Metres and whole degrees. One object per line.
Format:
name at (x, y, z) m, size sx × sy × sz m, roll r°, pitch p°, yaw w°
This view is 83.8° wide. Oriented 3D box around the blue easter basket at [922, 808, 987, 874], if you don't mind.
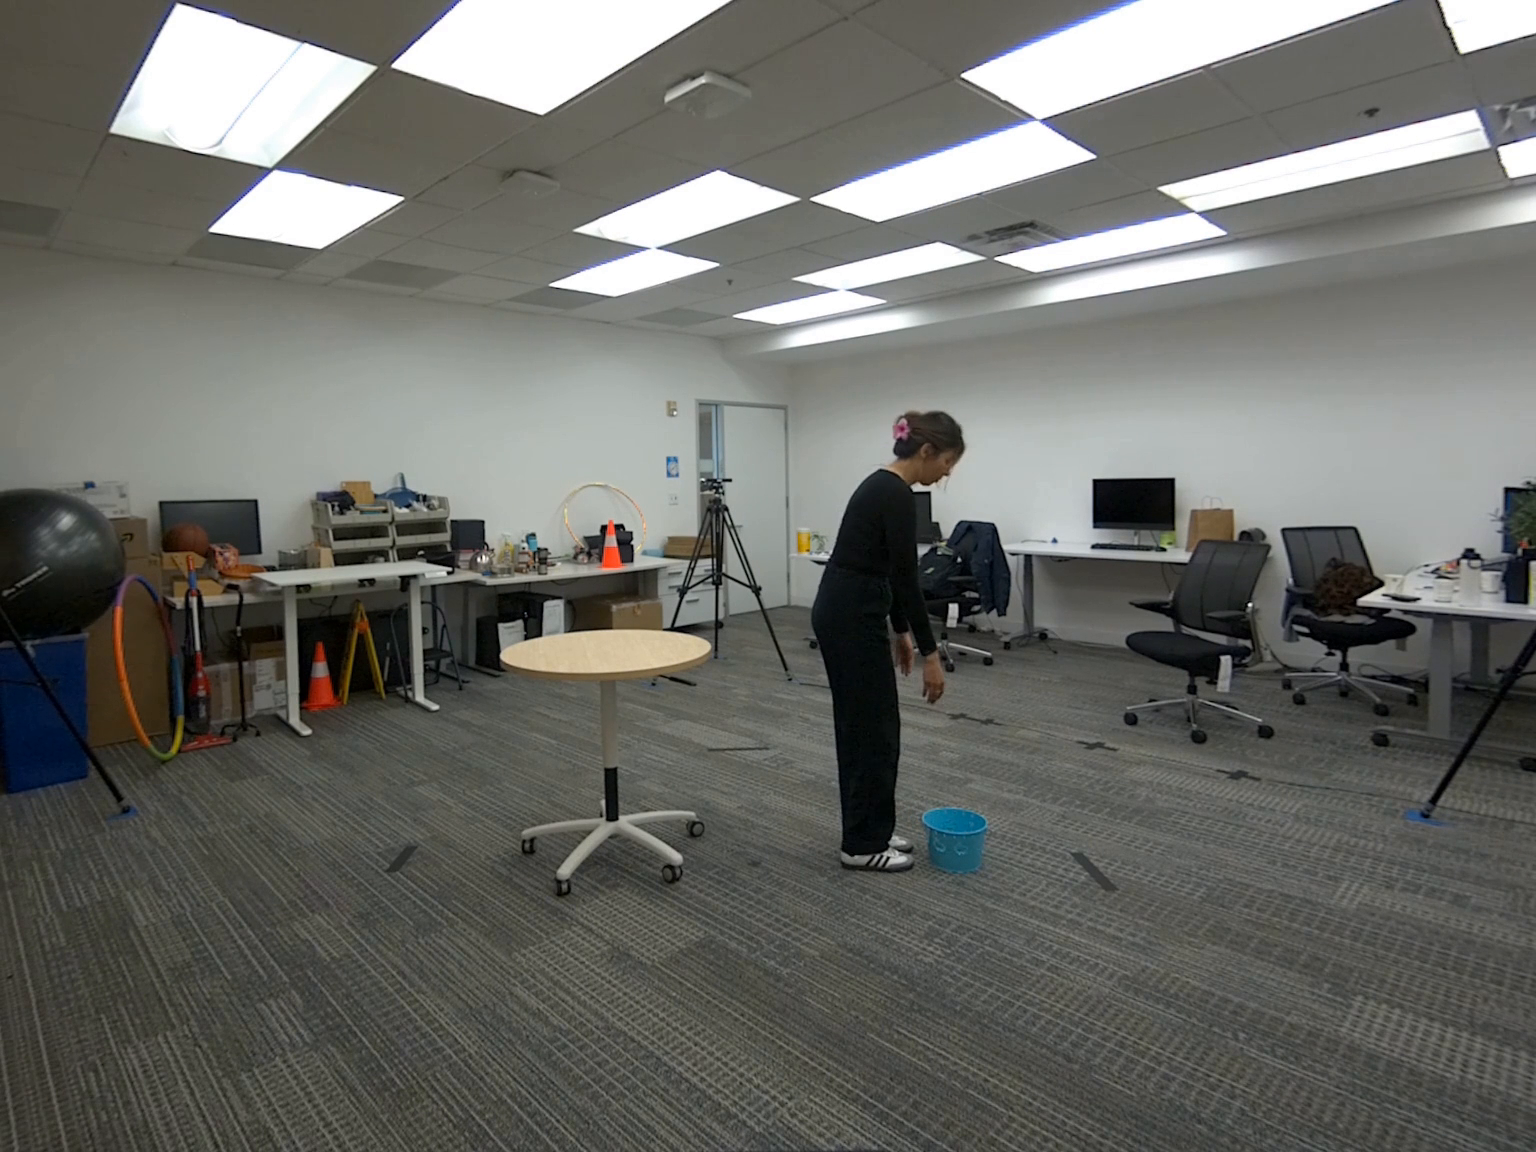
blue easter basket at (0.675, 0.950, 3.091) m, size 0.243 × 0.155 × 0.245 m, roll -1°, pitch 5°, yaw -2°
